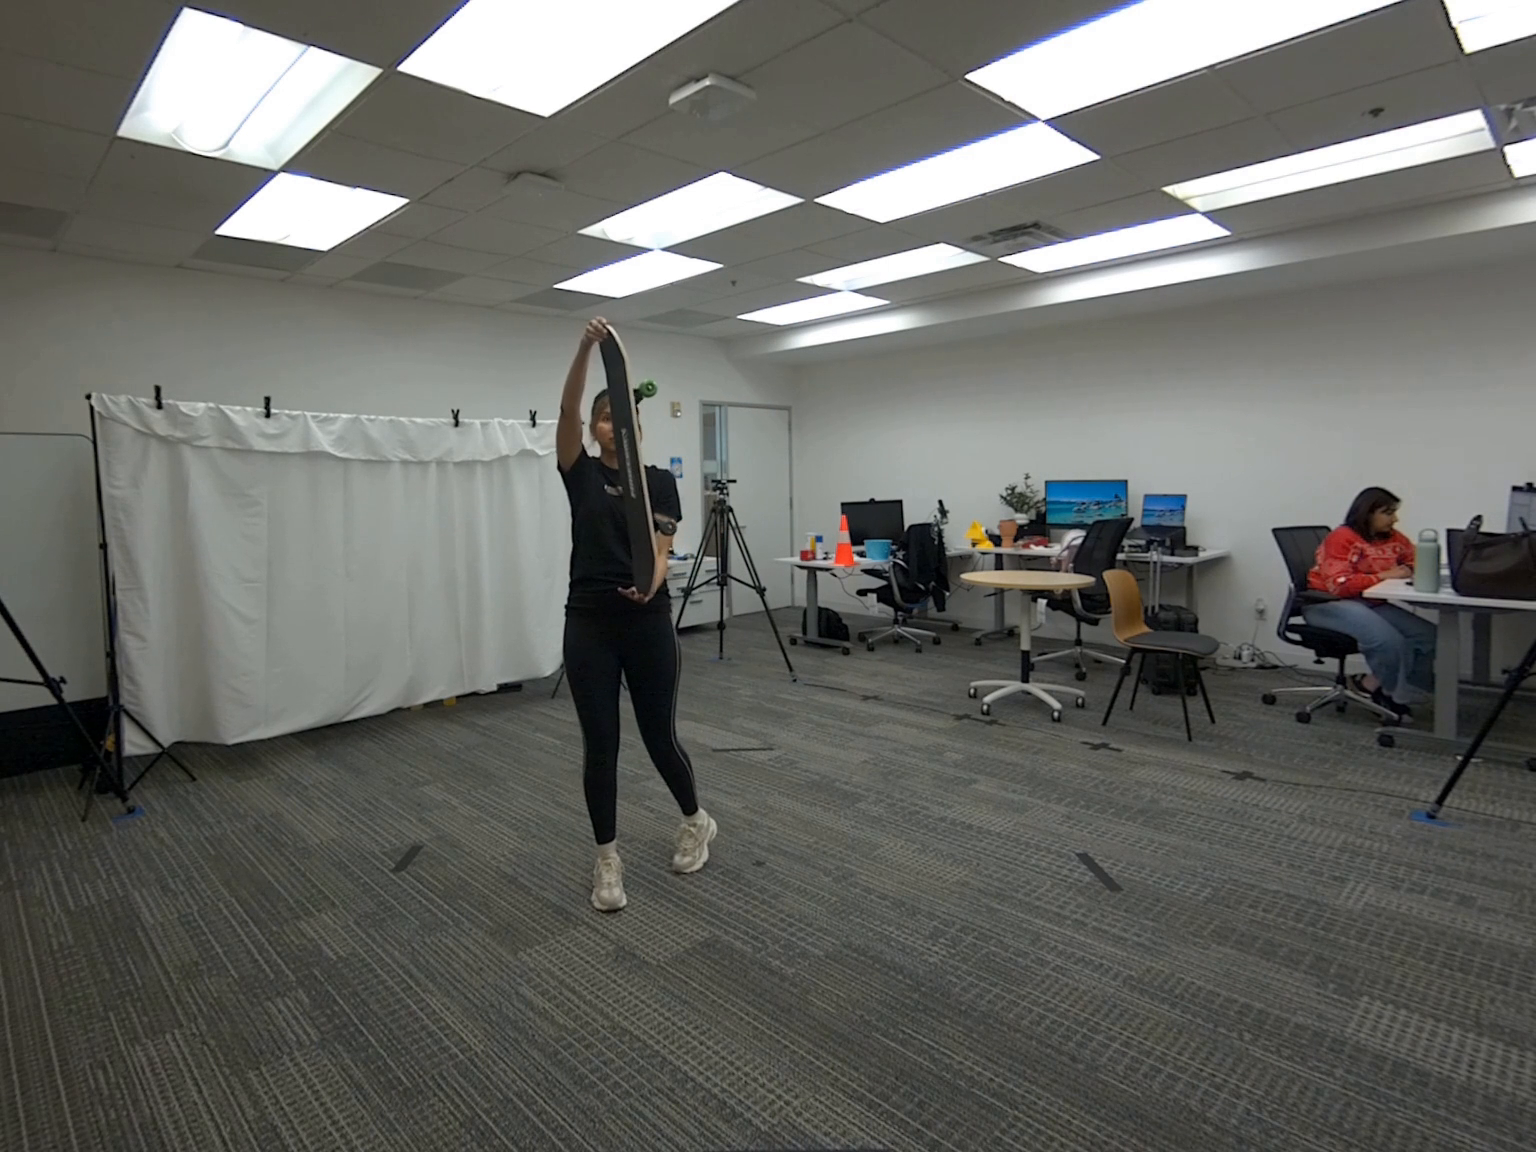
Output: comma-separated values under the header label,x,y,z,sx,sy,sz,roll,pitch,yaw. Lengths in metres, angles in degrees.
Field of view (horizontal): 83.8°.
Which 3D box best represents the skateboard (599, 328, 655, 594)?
label,x,y,z,sx,sy,sz,roll,pitch,yaw
skateboard,-0.372,-0.331,2.483,0.108,0.780,0.198,-10,7,-25
